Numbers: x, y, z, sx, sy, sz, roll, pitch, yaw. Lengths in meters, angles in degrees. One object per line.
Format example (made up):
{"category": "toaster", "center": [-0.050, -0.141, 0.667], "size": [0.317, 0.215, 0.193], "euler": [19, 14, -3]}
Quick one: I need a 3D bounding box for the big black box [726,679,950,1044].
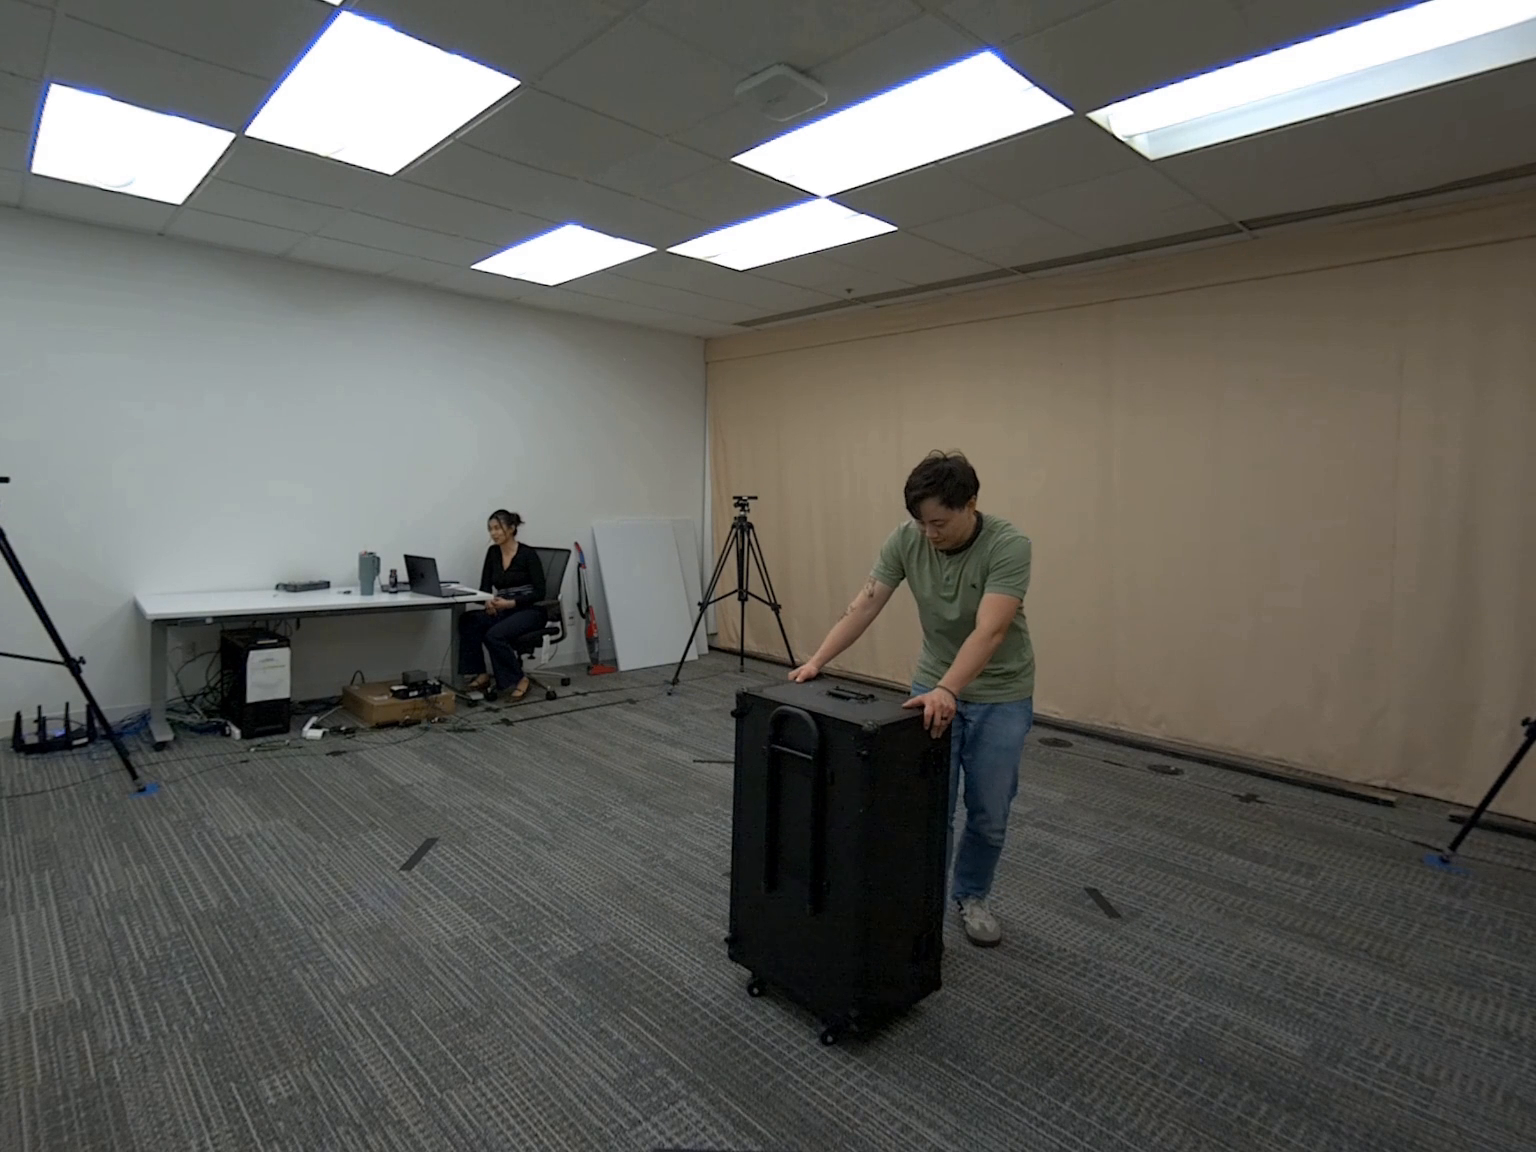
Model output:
{"category": "big black box", "center": [0.177, 0.760, 2.309], "size": [0.387, 0.859, 0.535], "euler": [-3, 6, -44]}
